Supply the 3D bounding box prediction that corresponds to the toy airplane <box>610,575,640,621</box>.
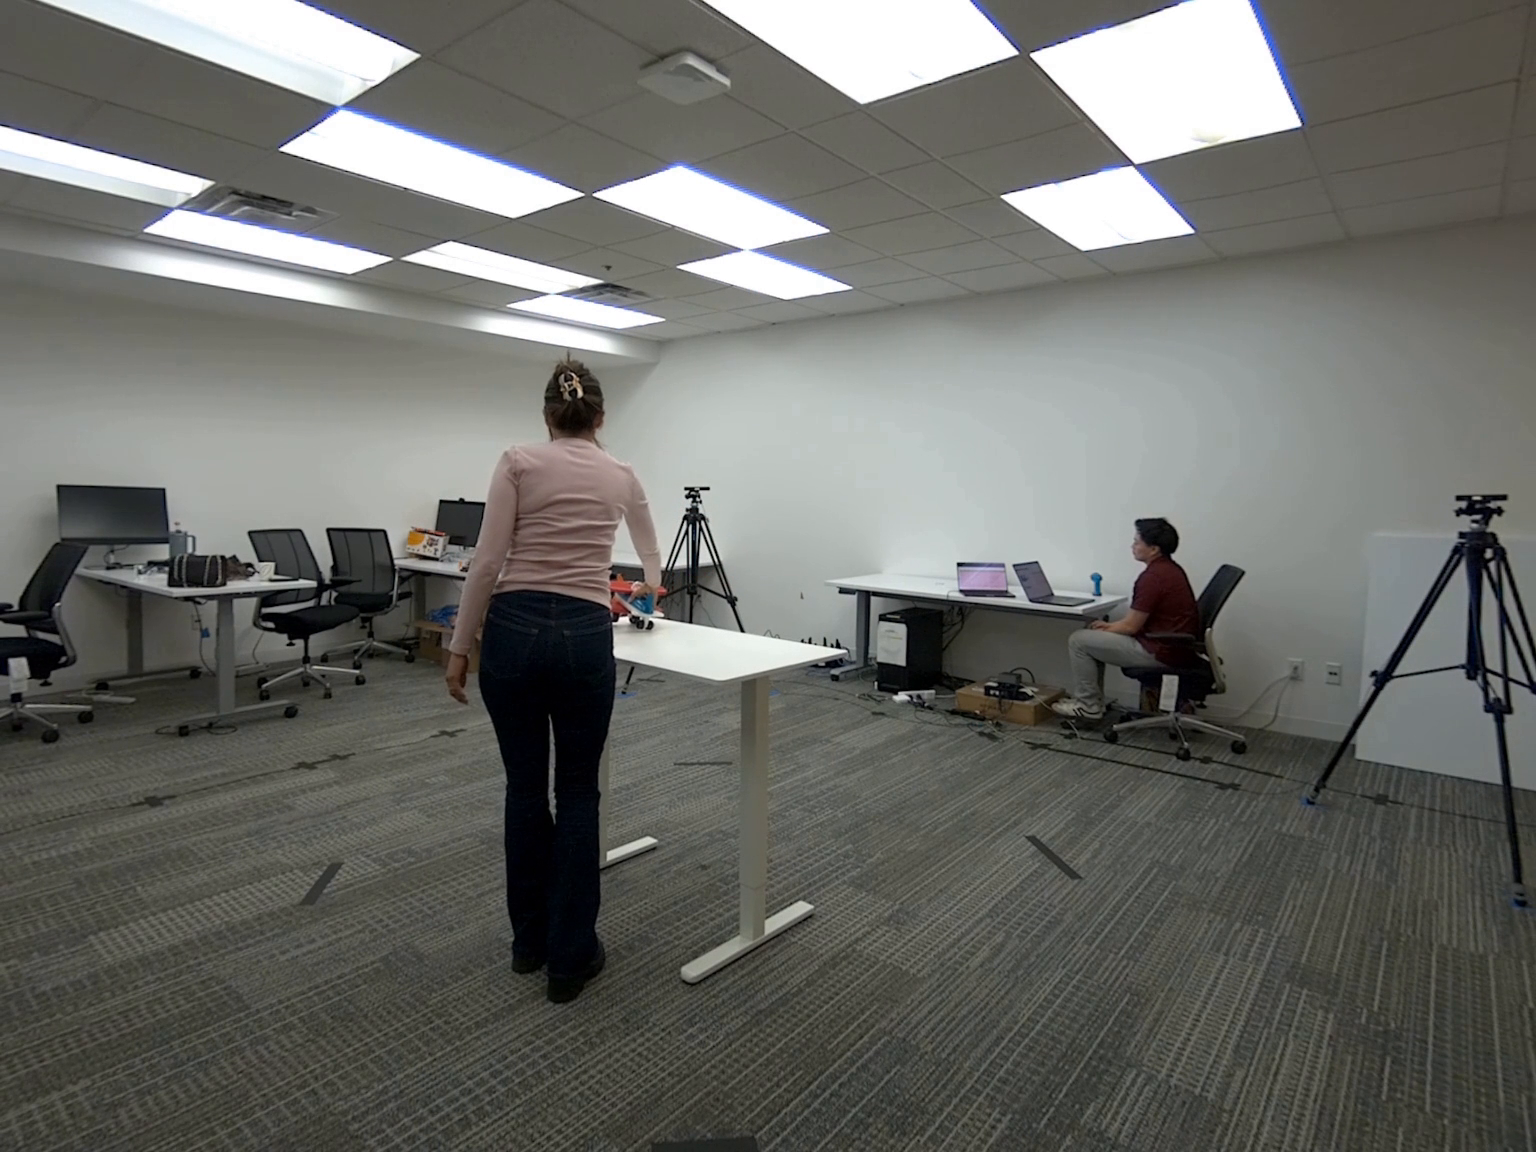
[{"bbox_3d":[-0.480,0.097,3.090,0.267,0.156,0.243,7,0,29],"label":"toy airplane"}]
